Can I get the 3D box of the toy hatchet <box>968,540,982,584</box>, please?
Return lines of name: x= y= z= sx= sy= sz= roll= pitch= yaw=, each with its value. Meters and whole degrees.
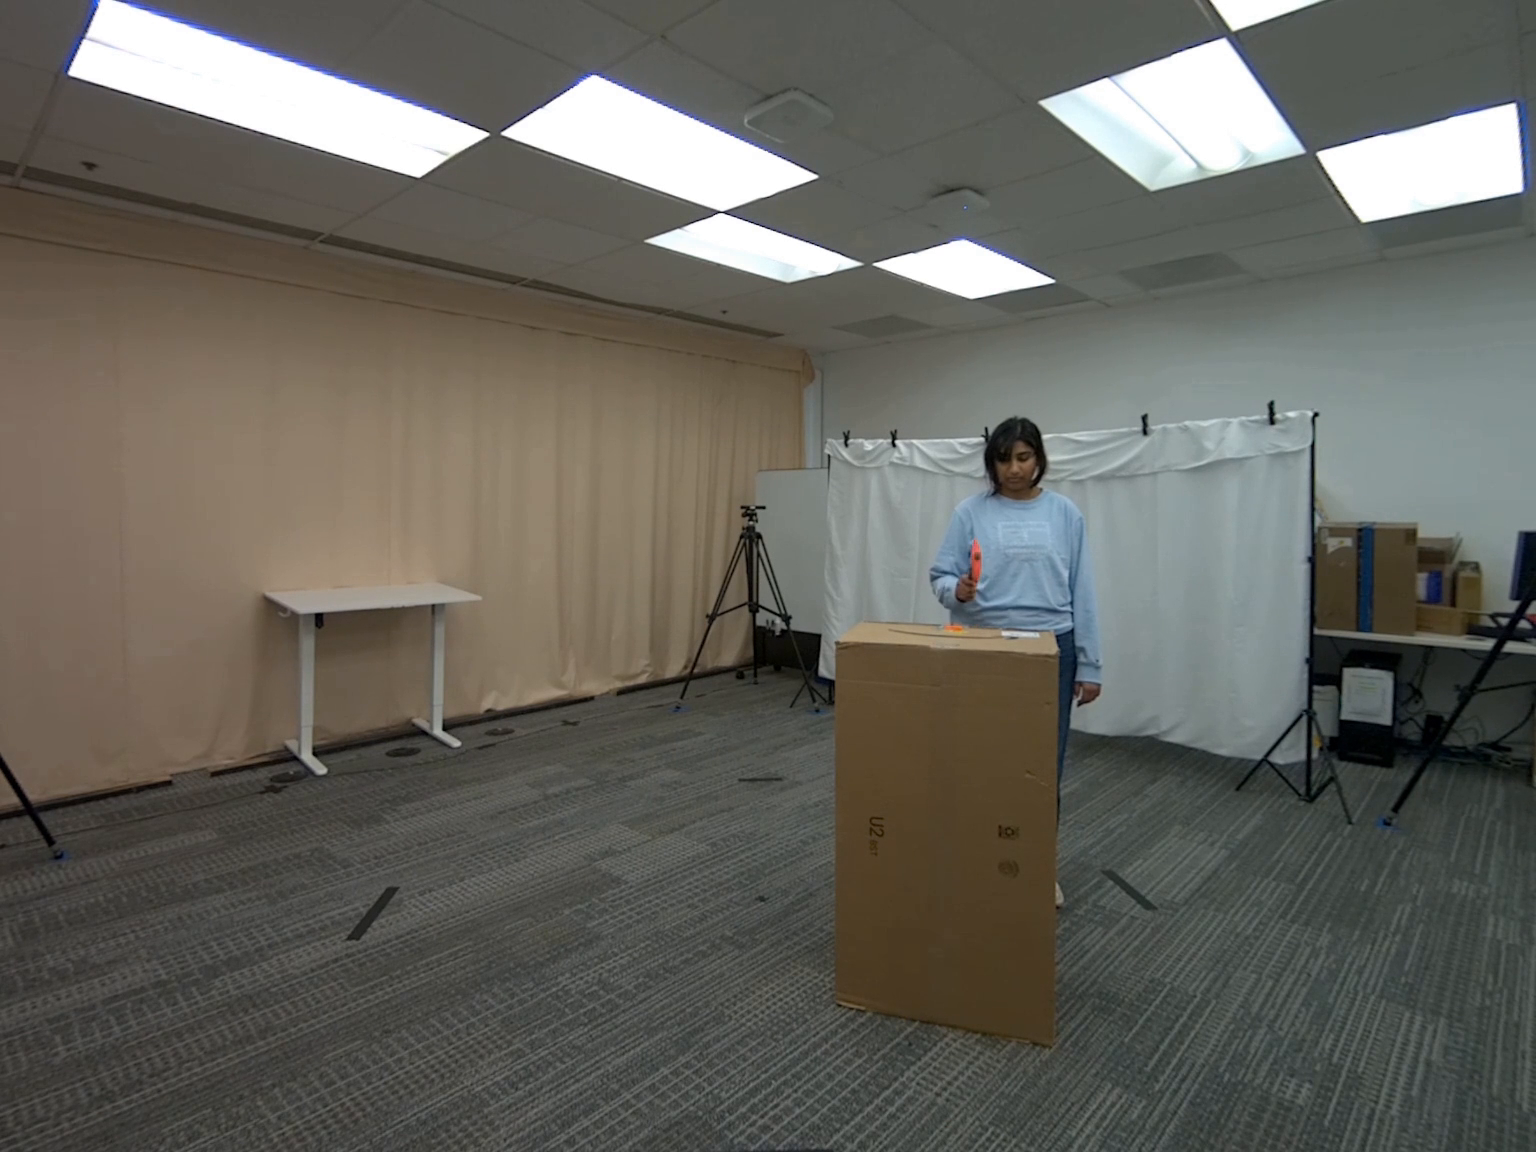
toy hatchet: x=0.659 y=0.012 z=2.672 sx=0.029 sy=0.133 sz=0.265 roll=0 pitch=-39 yaw=-3
